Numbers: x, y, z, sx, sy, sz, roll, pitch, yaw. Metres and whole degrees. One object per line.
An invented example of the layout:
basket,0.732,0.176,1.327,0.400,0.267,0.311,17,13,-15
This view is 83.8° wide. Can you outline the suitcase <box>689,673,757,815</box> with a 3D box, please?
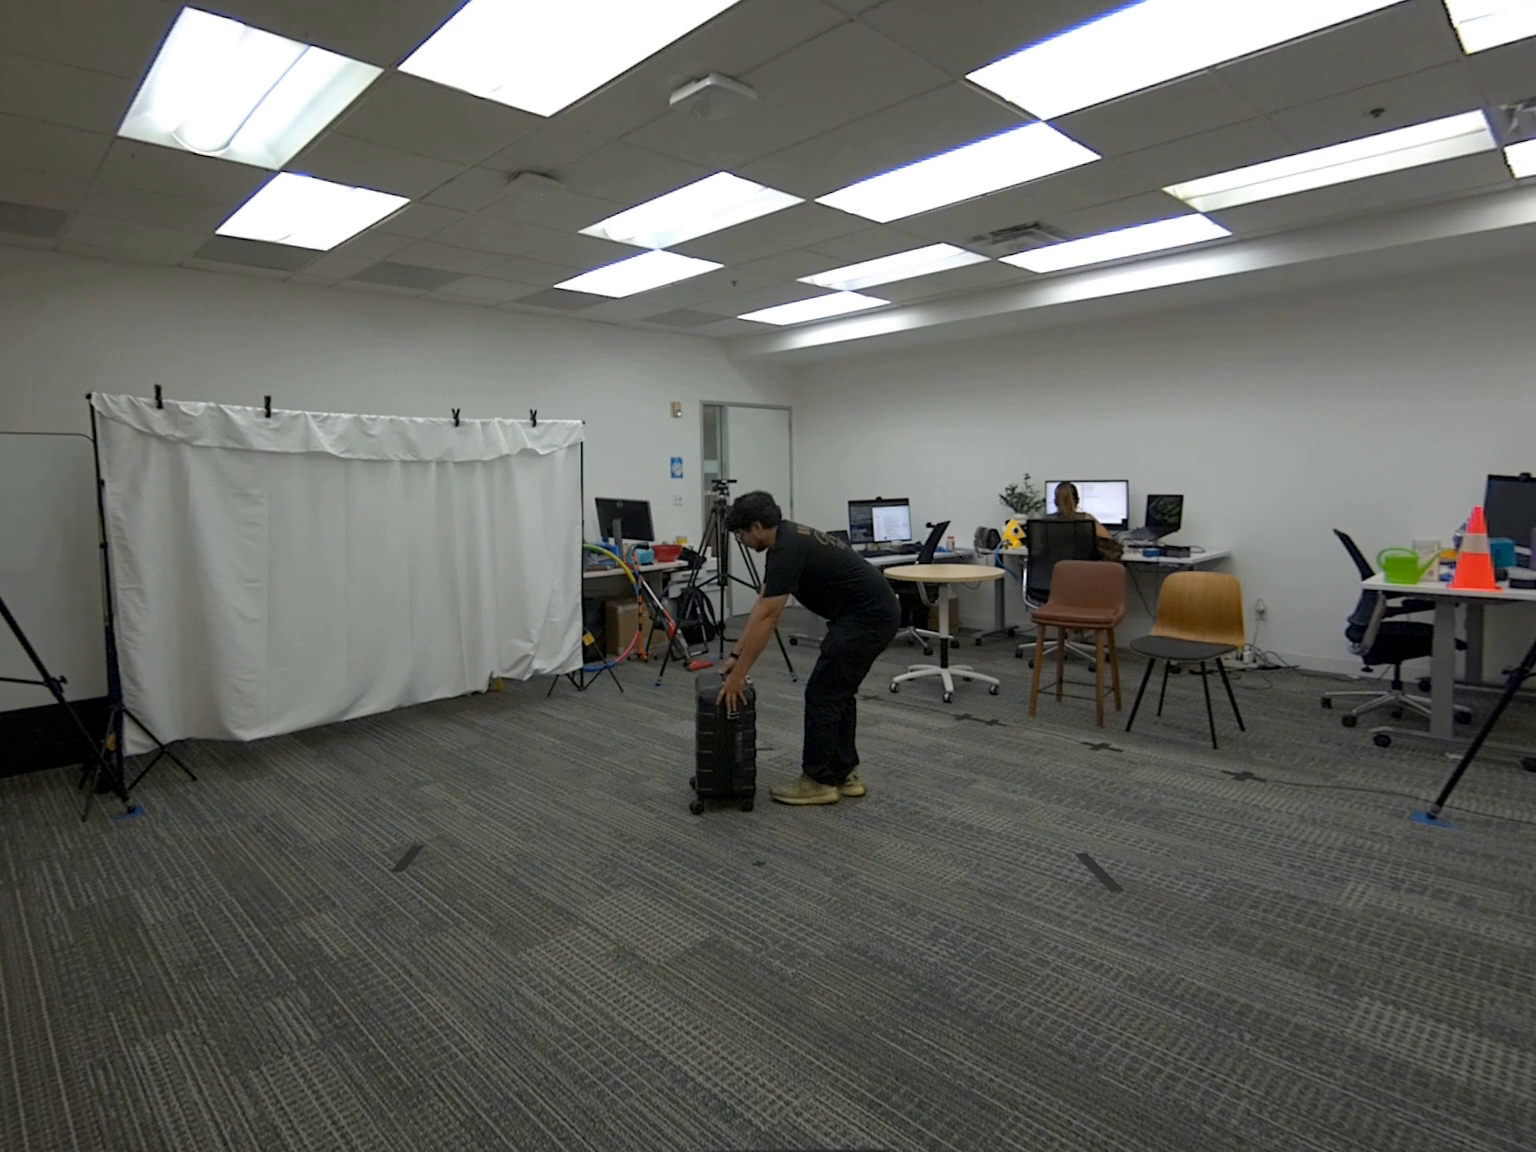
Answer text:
suitcase,-0.186,0.707,3.743,0.247,0.548,0.378,-1,3,-6
